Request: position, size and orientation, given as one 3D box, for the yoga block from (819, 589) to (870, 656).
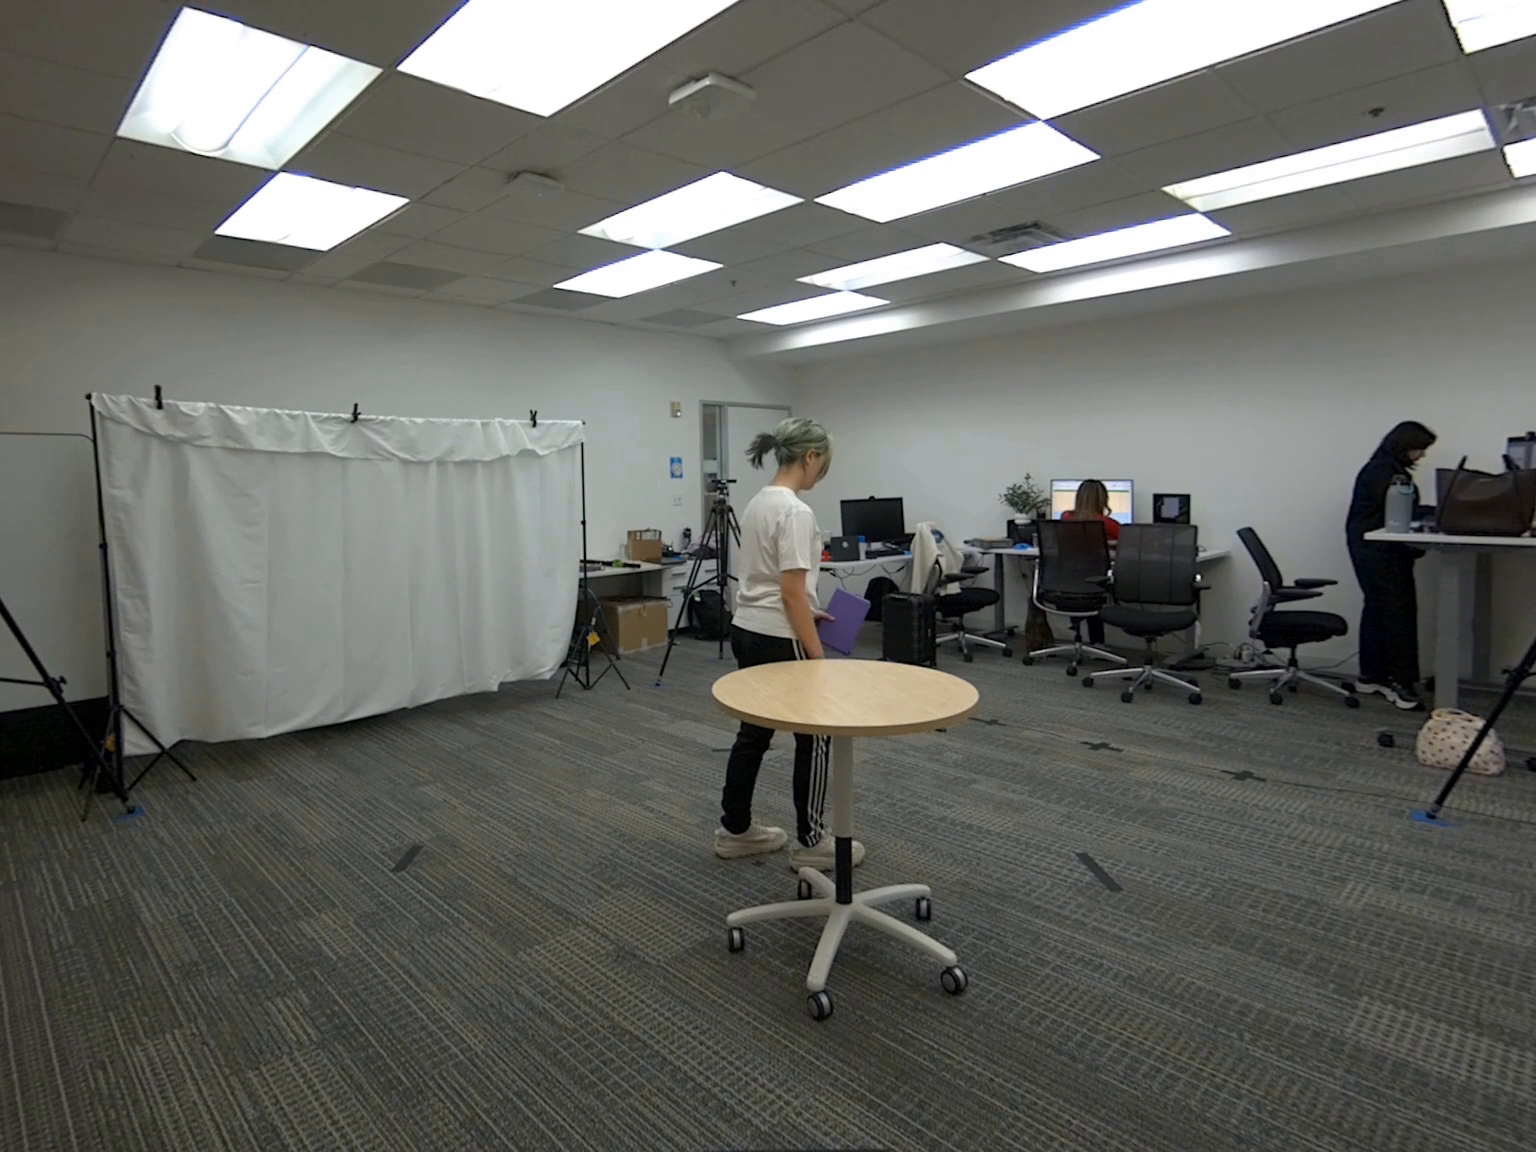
[{"bbox_3d":[0.292,0.177,3.365,0.151,0.229,0.075,25,-3,11],"label":"yoga block"}]
